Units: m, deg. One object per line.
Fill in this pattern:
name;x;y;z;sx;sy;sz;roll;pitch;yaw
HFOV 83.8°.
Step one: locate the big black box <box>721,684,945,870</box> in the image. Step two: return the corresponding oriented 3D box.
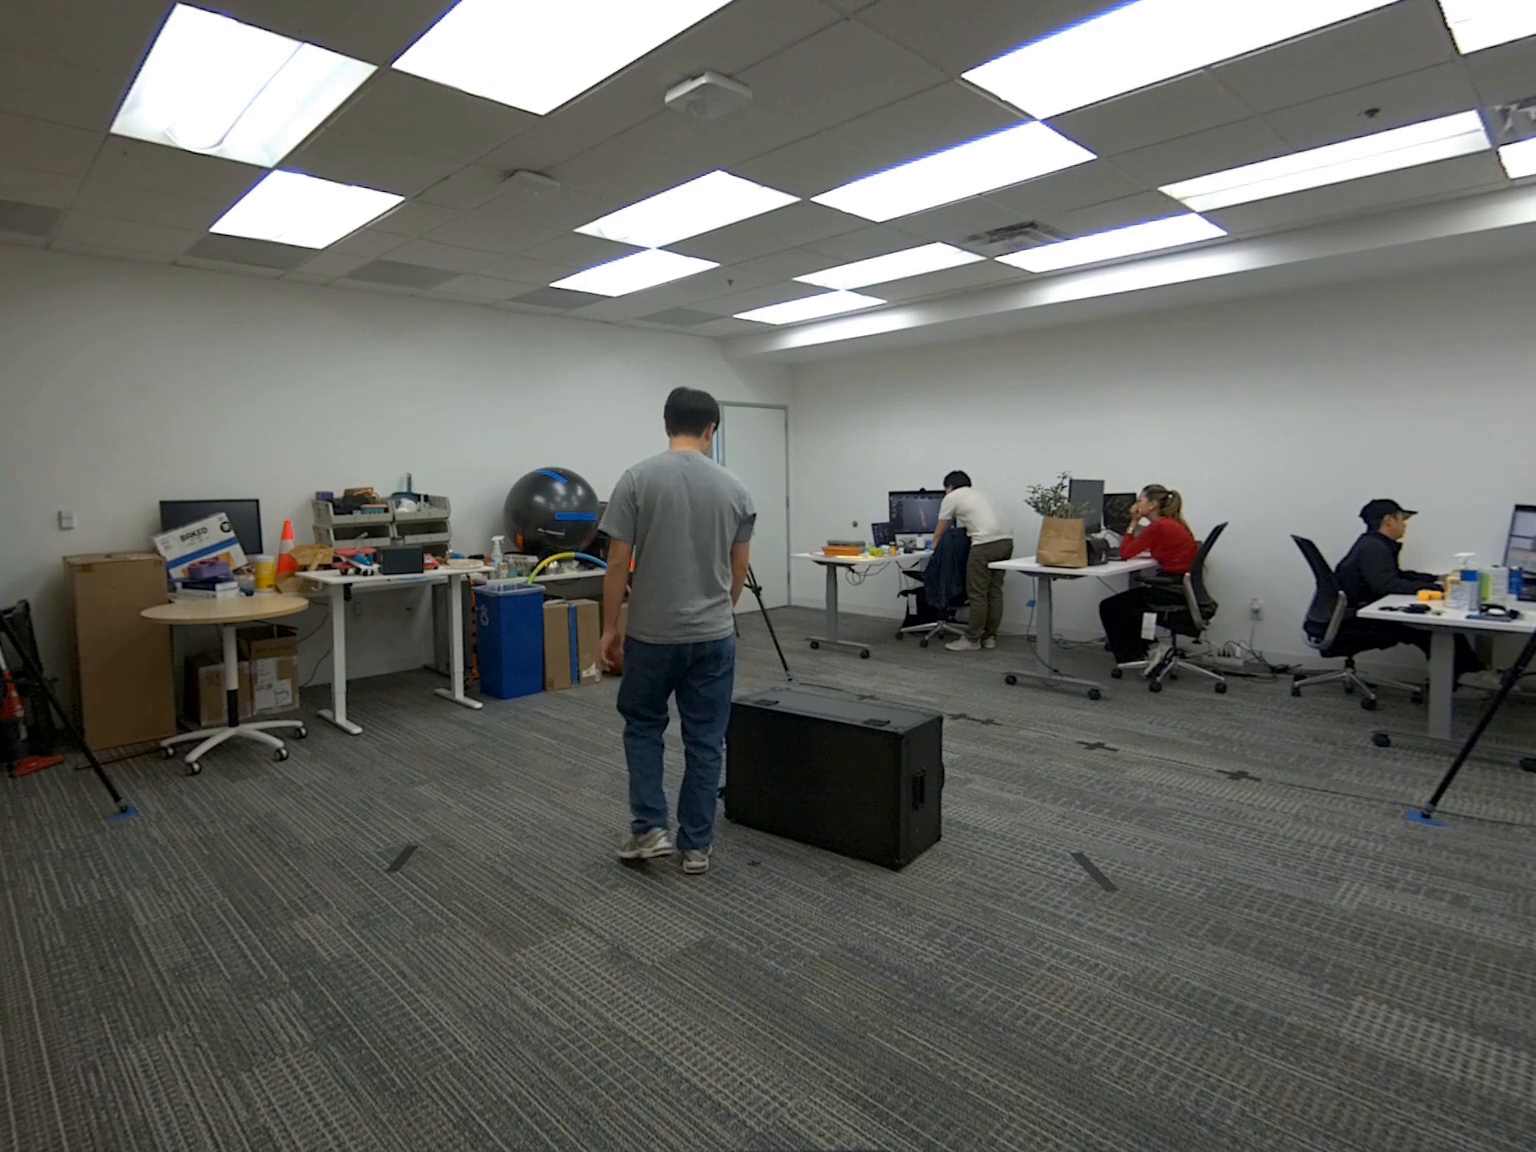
big black box;0.231;0.750;3.408;0.887;0.520;0.386;3;4;36
